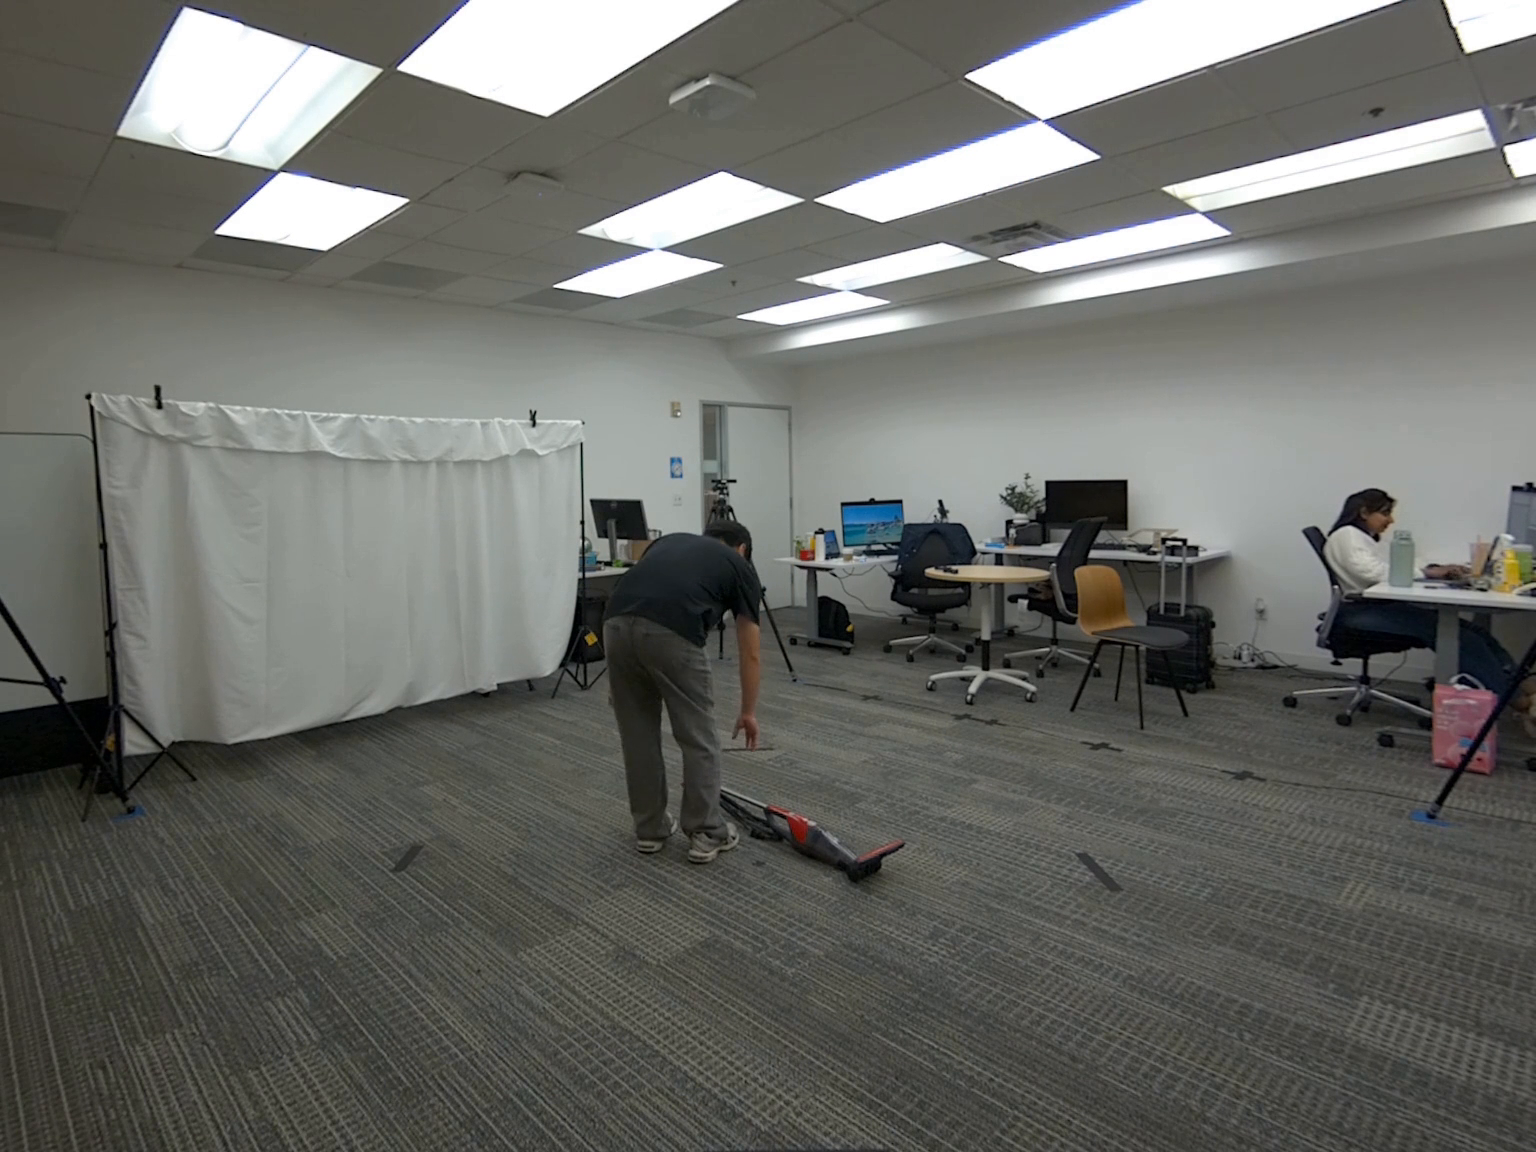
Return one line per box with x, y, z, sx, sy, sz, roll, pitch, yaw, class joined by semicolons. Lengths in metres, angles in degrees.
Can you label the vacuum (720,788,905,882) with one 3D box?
0.007;0.964;3.349;0.246;0.143;1.082;-6;8;-41;vacuum
